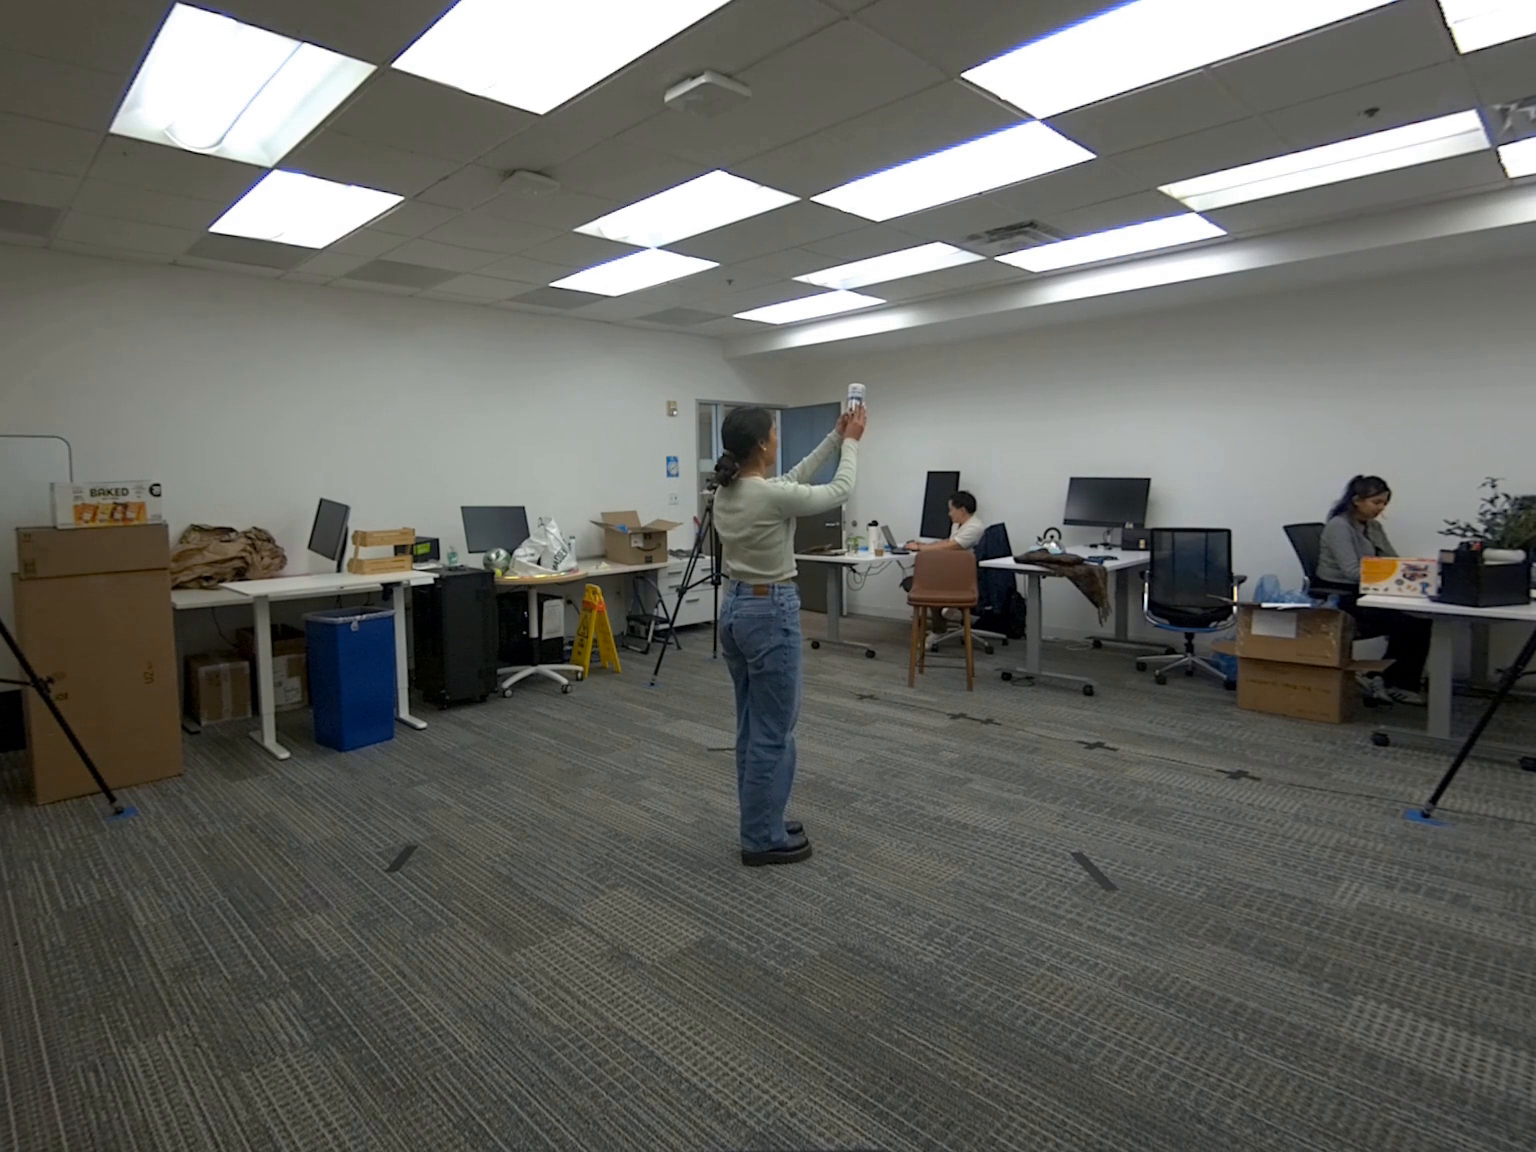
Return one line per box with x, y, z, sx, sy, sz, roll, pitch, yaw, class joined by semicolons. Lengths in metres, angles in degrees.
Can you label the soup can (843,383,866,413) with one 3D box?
0.335;-0.679;3.300;0.067;0.122;0.066;7;-9;-1;soup can
